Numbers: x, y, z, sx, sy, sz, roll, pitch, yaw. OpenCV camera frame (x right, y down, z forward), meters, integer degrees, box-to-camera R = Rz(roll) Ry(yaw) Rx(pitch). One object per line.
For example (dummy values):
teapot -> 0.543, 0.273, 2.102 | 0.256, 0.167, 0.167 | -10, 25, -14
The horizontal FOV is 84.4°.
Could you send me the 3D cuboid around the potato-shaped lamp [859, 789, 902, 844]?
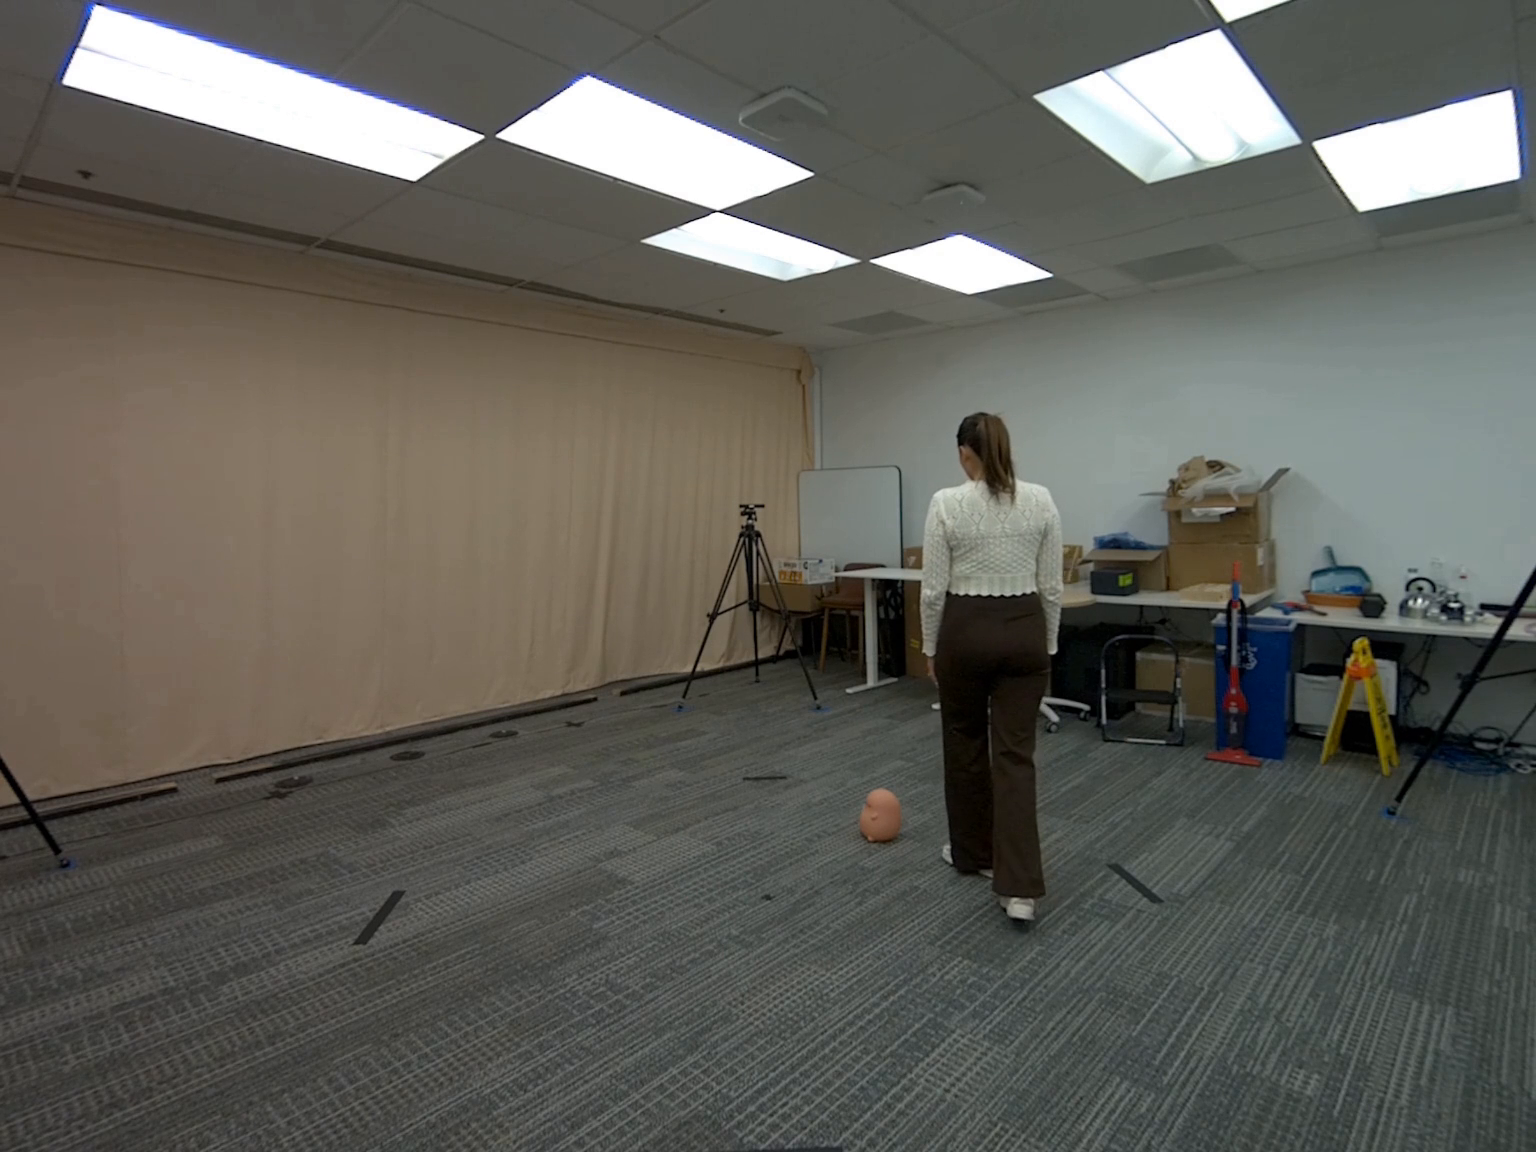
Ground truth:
potato-shaped lamp -> 0.467, 0.987, 3.501 | 0.170, 0.198, 0.166 | -2, 2, -9
